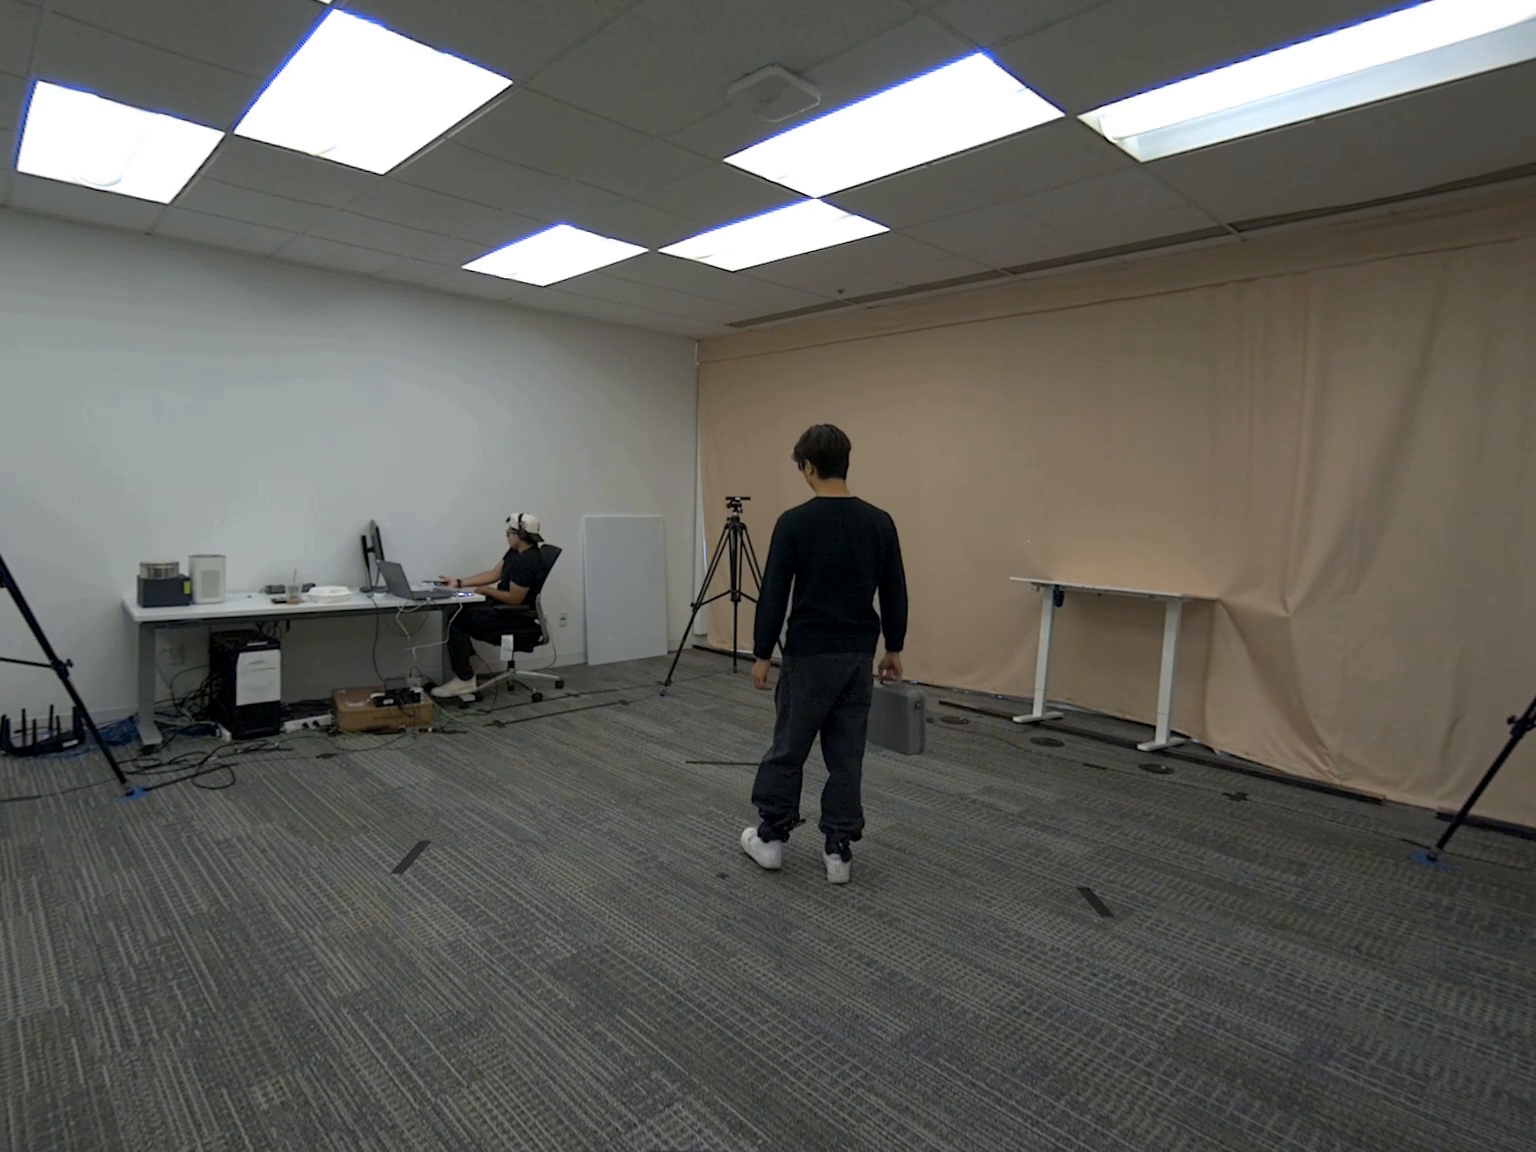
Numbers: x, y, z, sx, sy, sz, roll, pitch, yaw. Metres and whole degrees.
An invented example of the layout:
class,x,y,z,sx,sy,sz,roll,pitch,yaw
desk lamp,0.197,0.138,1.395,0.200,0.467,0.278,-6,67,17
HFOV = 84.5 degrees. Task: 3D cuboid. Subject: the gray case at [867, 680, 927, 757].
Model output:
class,x,y,z,sx,sy,sz,roll,pitch,yaw
gray case,0.478,0.549,3.297,0.102,0.259,0.263,-8,7,-33
